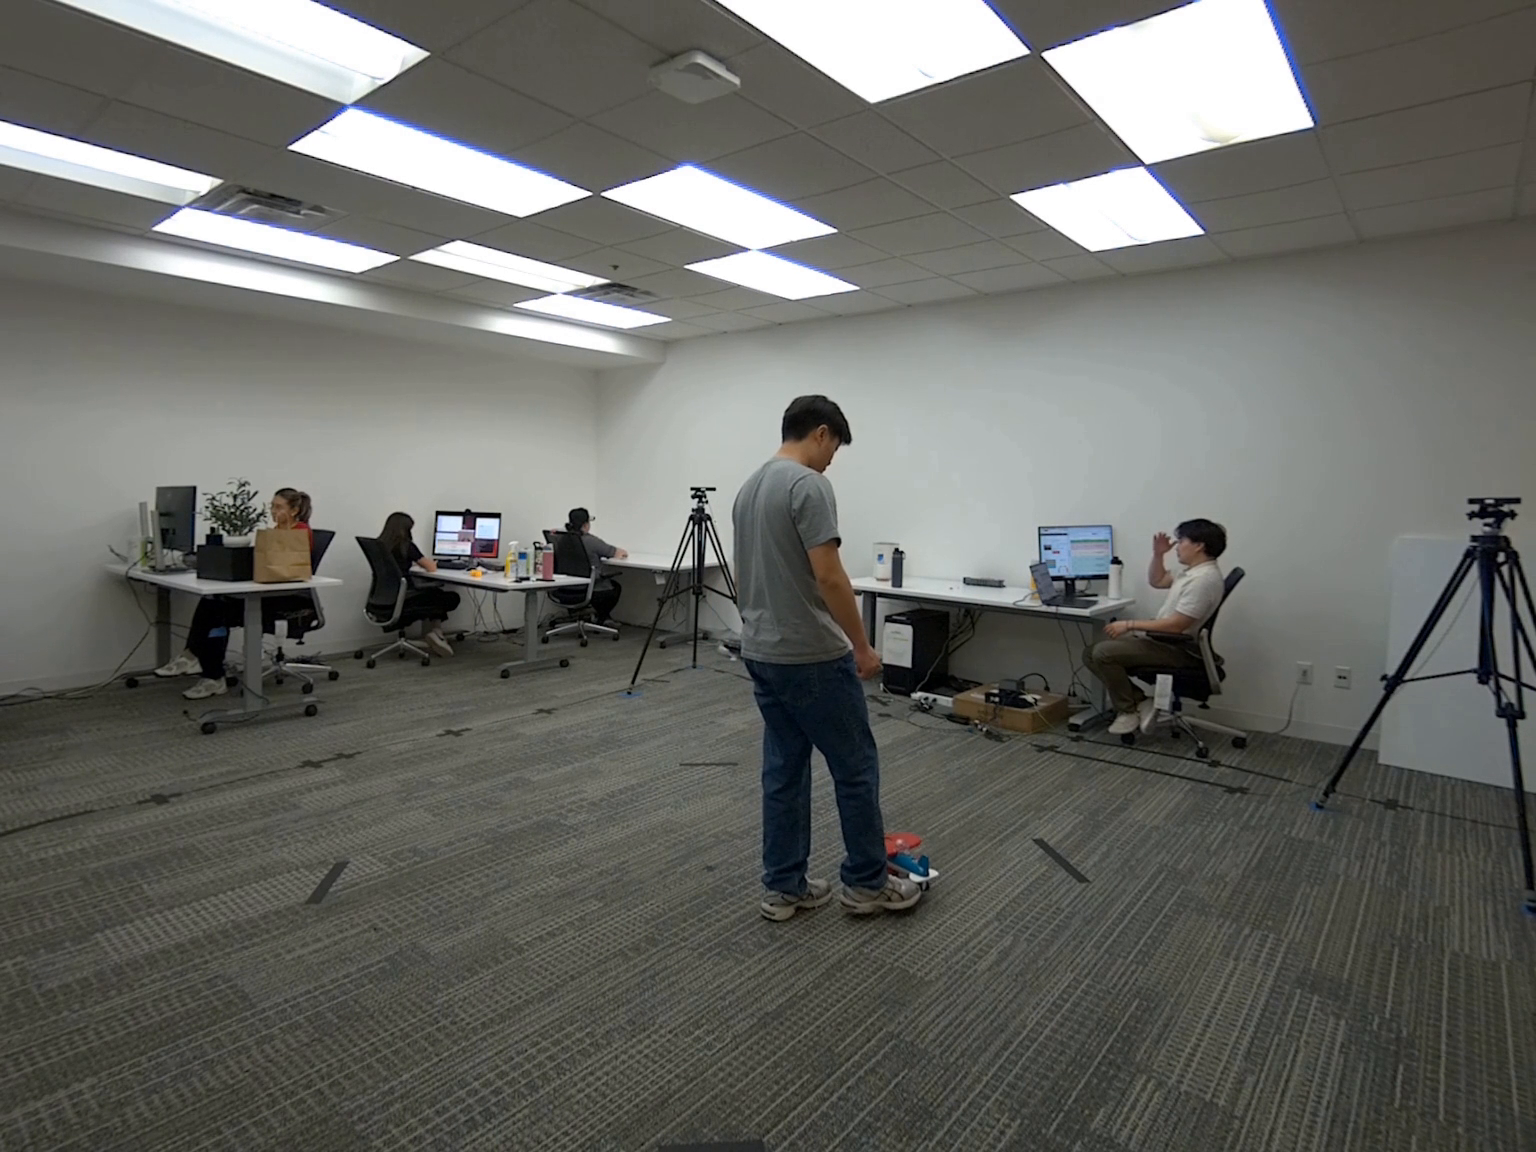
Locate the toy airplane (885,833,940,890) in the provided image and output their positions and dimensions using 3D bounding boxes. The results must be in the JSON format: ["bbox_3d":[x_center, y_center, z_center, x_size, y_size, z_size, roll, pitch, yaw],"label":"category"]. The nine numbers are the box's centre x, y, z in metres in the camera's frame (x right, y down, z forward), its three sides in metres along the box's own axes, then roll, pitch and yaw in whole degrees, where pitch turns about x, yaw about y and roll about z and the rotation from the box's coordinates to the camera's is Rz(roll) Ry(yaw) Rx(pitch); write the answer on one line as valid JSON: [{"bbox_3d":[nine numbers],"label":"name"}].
[{"bbox_3d":[0.471,1.007,2.999,0.265,0.157,0.245,-6,-2,24],"label":"toy airplane"}]
